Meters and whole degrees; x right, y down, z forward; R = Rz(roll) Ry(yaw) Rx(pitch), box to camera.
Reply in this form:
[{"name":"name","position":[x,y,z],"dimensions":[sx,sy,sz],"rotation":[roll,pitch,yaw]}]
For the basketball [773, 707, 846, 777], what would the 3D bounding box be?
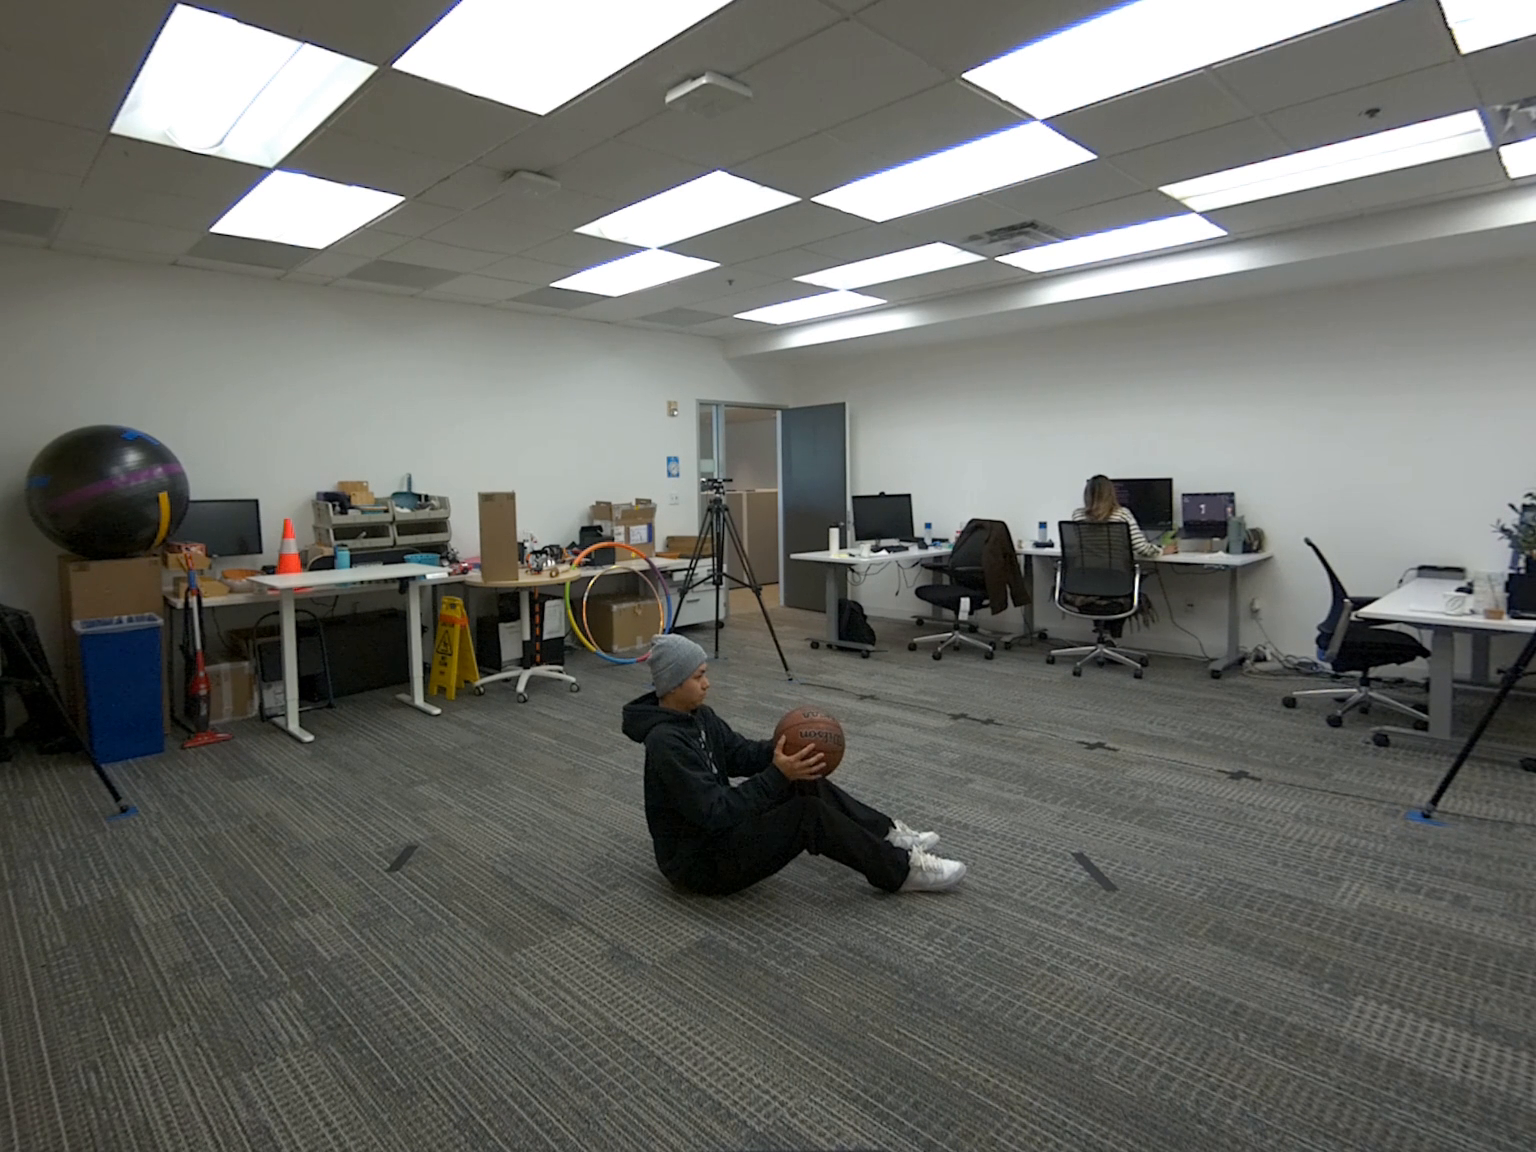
[{"name":"basketball","position":[0.132,0.551,2.812],"dimensions":[0.236,0.235,0.237],"rotation":[-1,5,-2]}]
